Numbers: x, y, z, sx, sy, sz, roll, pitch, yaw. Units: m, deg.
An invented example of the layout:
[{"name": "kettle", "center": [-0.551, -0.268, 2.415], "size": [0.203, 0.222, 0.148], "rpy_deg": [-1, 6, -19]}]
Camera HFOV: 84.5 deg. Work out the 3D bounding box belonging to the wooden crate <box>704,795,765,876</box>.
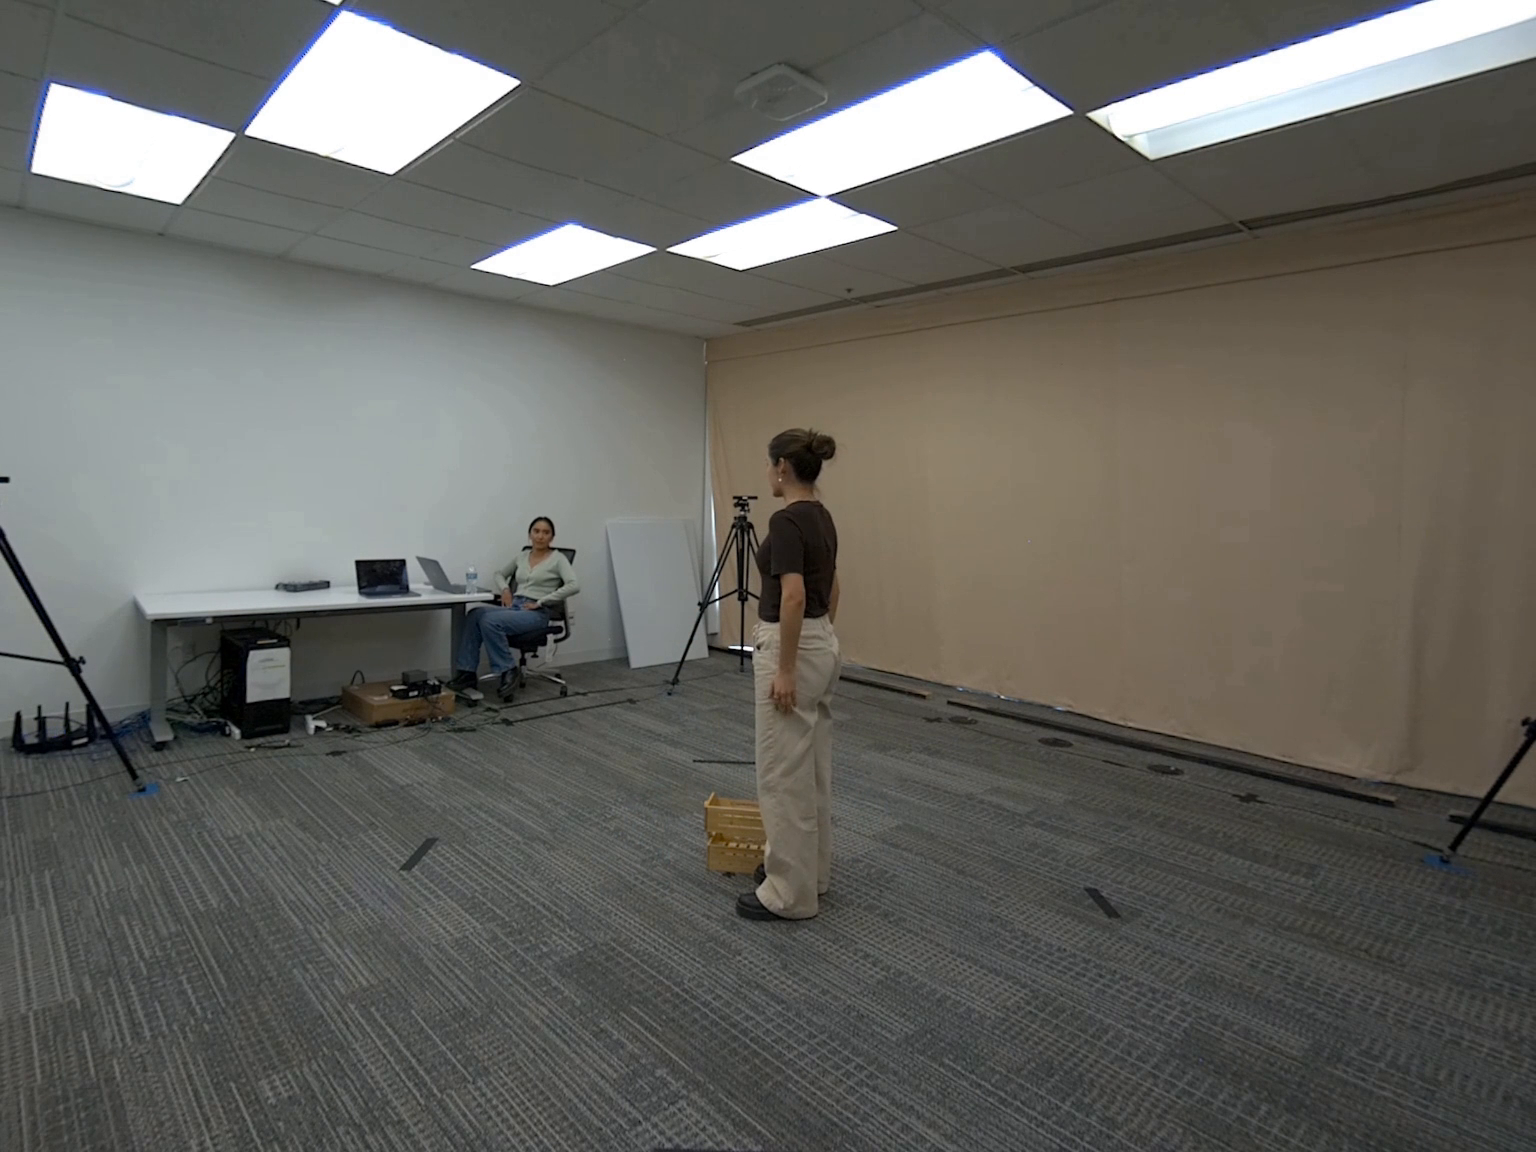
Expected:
[{"name": "wooden crate", "center": [-0.072, 0.960, 3.210], "size": [0.327, 0.272, 0.301], "rpy_deg": [2, 6, 9]}]
